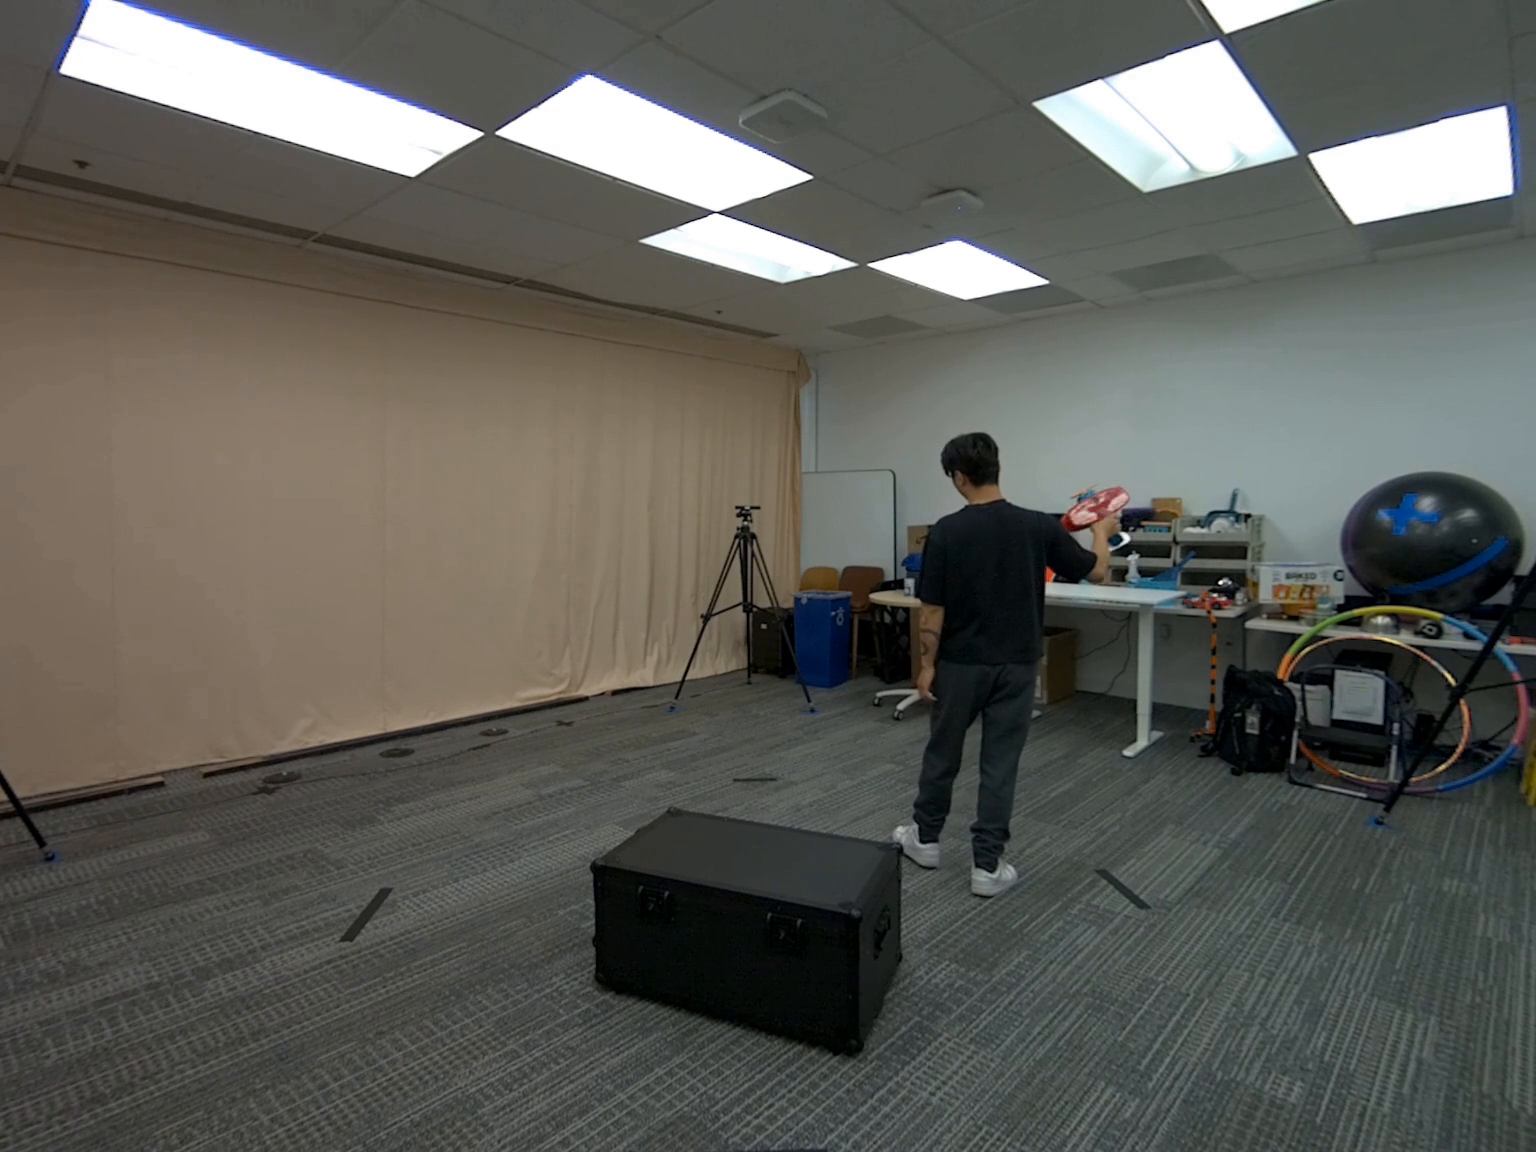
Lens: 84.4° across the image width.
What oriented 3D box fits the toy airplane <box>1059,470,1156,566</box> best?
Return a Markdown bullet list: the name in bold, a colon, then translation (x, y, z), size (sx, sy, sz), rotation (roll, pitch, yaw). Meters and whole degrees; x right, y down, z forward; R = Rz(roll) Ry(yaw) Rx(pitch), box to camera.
- **toy airplane**: translation (1.325, -0.232, 3.341), size (0.267, 0.250, 0.152), rotation (28, -17, 24)
